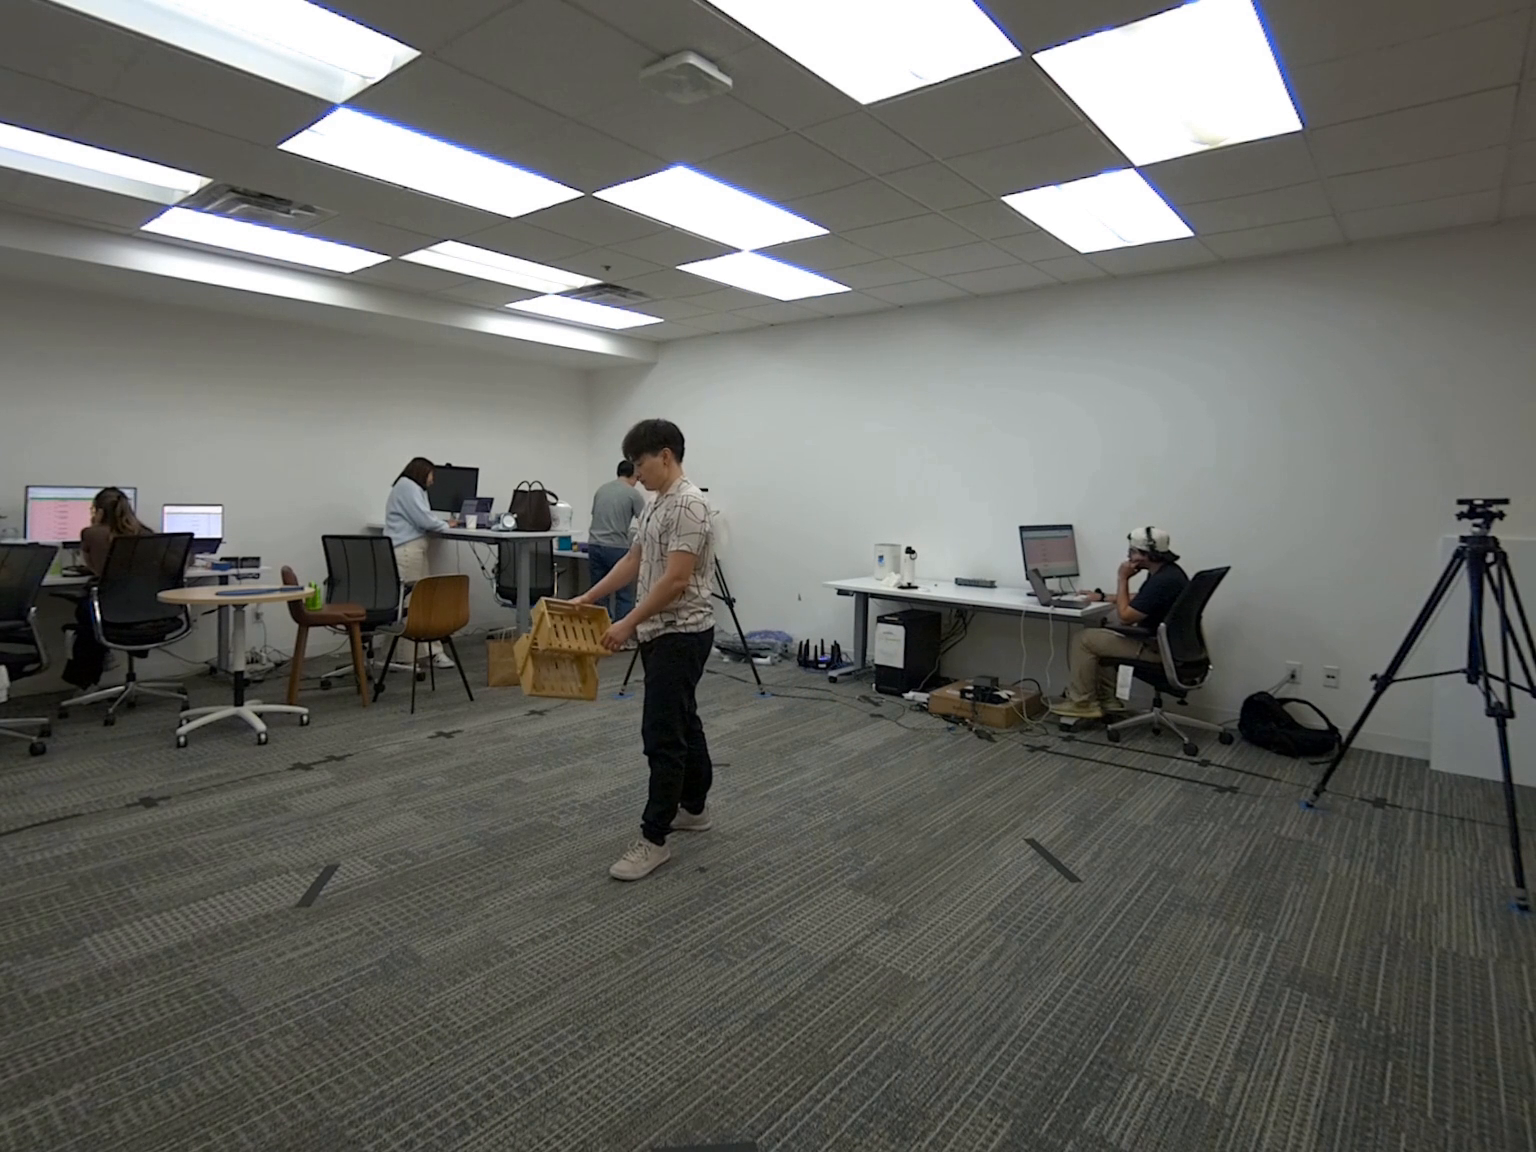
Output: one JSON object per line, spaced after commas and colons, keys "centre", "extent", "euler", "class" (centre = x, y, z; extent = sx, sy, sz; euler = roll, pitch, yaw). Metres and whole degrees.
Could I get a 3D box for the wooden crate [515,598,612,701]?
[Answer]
{"centre": [-0.793, 0.297, 3.352], "extent": [0.313, 0.313, 0.273], "euler": [12, -49, -40], "class": "wooden crate"}
